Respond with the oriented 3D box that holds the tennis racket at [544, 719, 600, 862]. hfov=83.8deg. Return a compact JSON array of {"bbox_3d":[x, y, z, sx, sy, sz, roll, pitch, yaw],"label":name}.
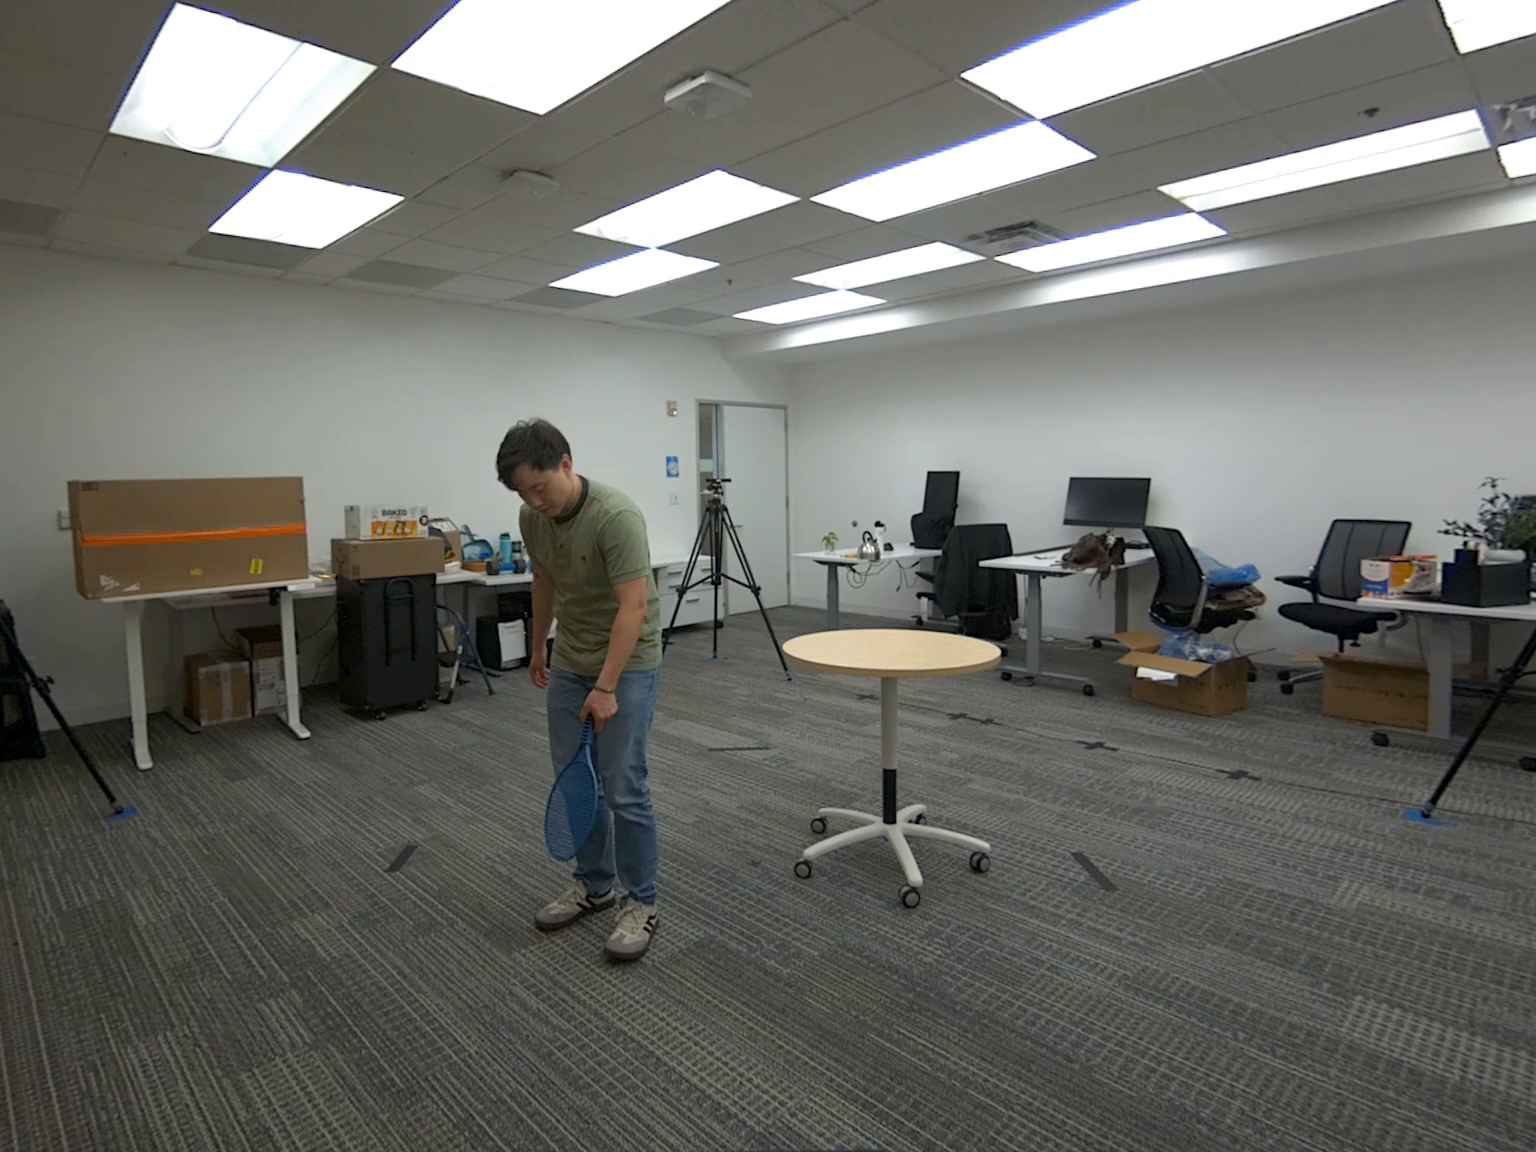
[{"bbox_3d":[-0.526,0.569,2.367,0.219,0.438,0.030,-6,-23,43],"label":"tennis racket"}]
